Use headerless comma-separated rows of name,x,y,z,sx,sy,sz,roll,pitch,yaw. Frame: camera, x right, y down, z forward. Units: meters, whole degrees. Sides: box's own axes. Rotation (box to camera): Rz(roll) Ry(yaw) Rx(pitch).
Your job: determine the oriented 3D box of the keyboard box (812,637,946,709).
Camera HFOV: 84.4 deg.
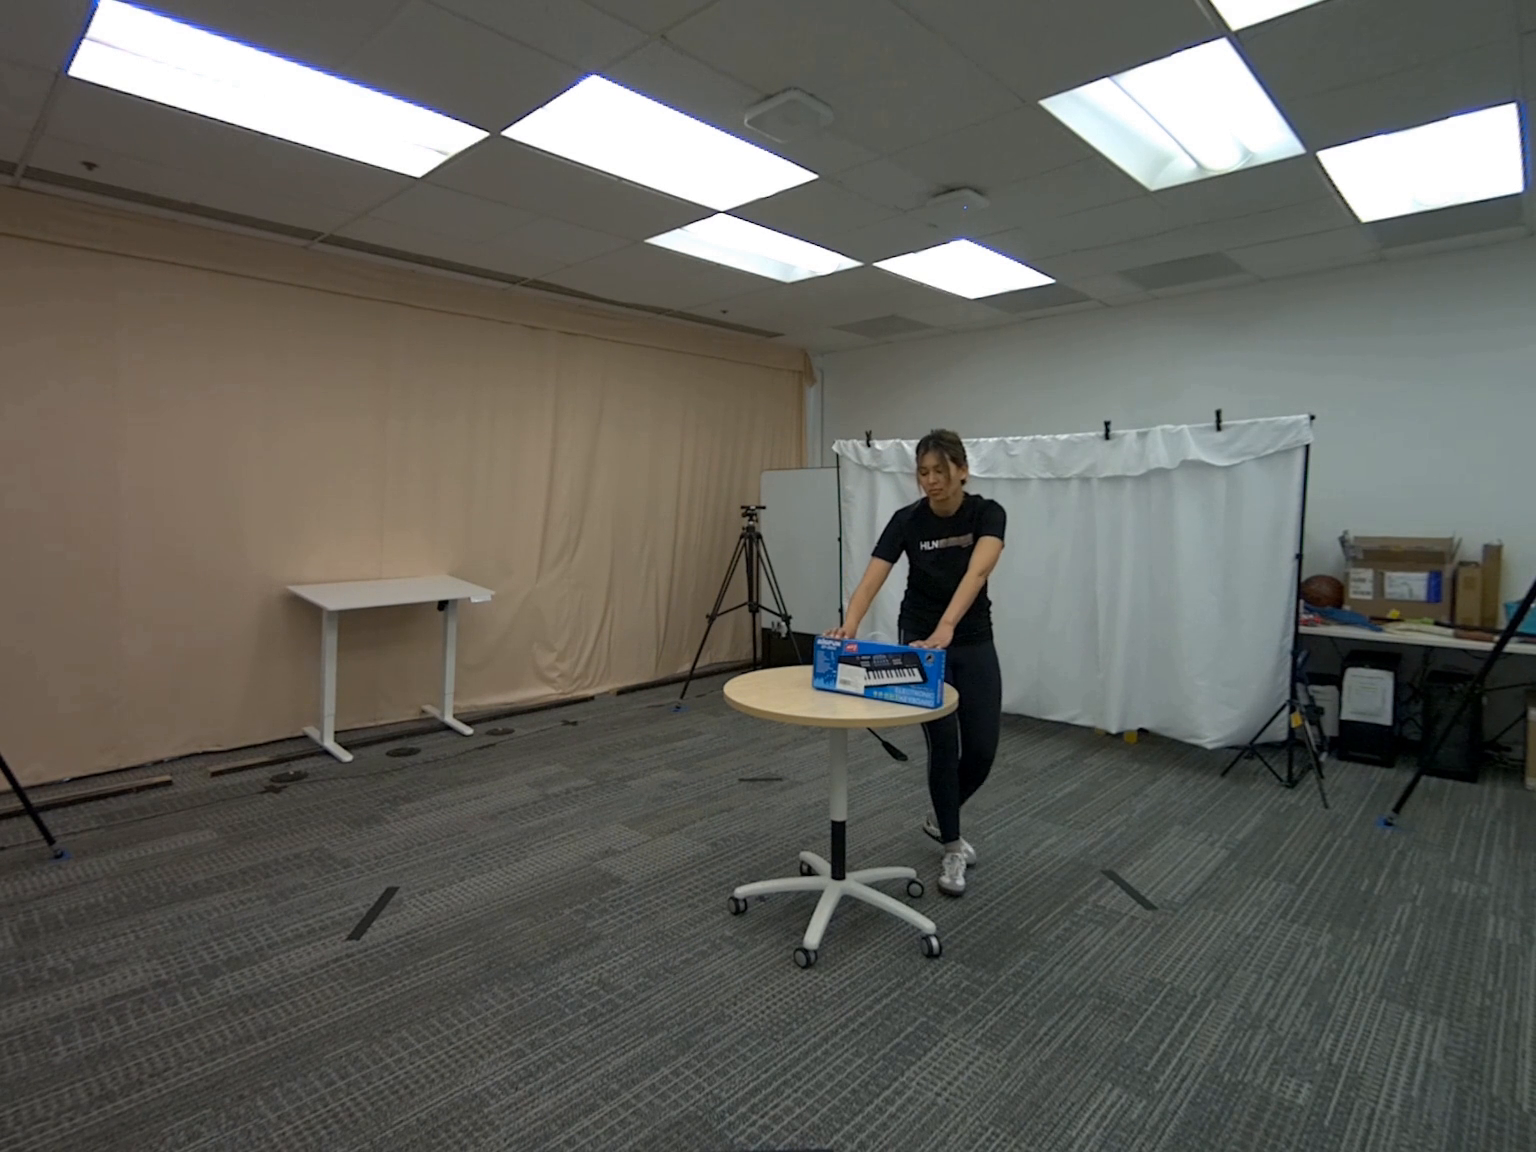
keyboard box,0.343,0.301,2.667,0.451,0.176,0.057,3,-1,38
